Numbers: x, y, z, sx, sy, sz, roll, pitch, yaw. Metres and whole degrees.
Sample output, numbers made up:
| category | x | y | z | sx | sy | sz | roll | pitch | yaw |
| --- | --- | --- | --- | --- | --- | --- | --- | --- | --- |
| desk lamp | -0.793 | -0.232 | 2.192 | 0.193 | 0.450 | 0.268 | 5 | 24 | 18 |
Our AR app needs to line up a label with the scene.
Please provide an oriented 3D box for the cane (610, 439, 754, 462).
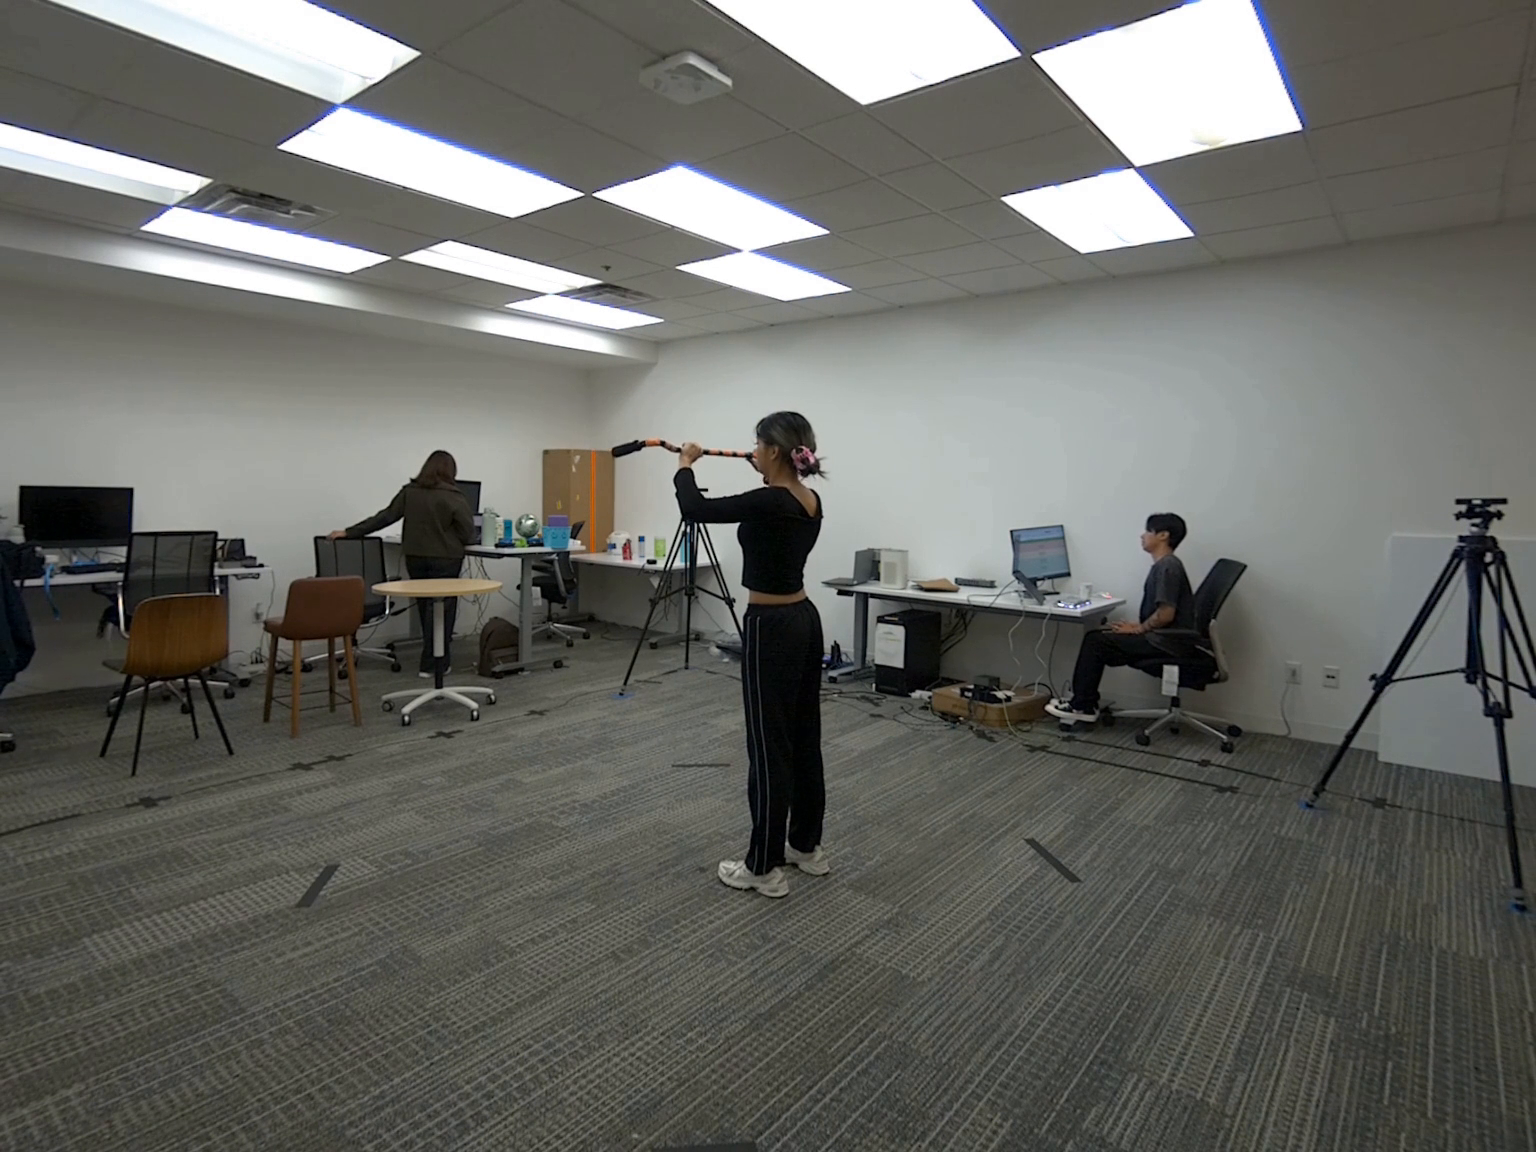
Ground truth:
| category | x | y | z | sx | sy | sz | roll | pitch | yaw |
| --- | --- | --- | --- | --- | --- | --- | --- | --- | --- |
| cane | -0.189 | -0.434 | 3.073 | 0.211 | 0.152 | 0.882 | -11 | -3 | 35 |
